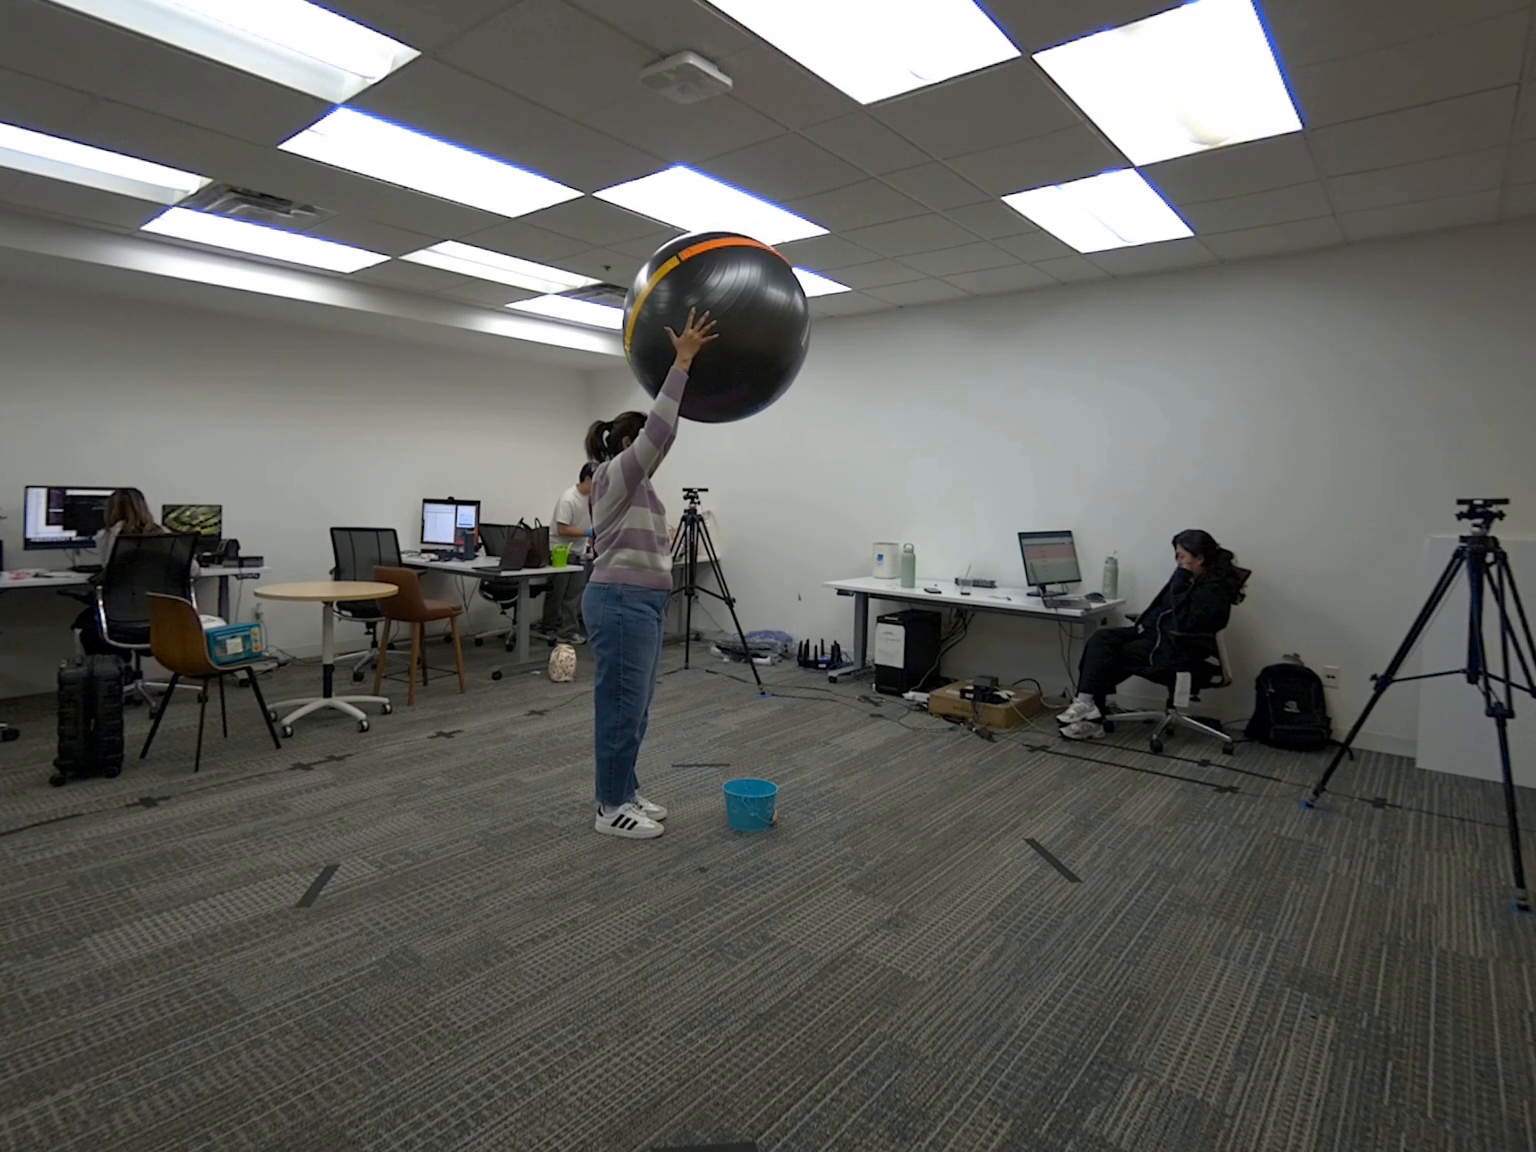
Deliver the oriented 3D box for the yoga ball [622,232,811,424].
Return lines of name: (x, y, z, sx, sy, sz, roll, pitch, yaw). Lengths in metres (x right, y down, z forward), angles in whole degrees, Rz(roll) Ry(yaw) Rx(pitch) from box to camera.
yoga ball: (-0.216, -0.996, 3.430, 0.757, 0.756, 0.761, 1, 4, -2)
